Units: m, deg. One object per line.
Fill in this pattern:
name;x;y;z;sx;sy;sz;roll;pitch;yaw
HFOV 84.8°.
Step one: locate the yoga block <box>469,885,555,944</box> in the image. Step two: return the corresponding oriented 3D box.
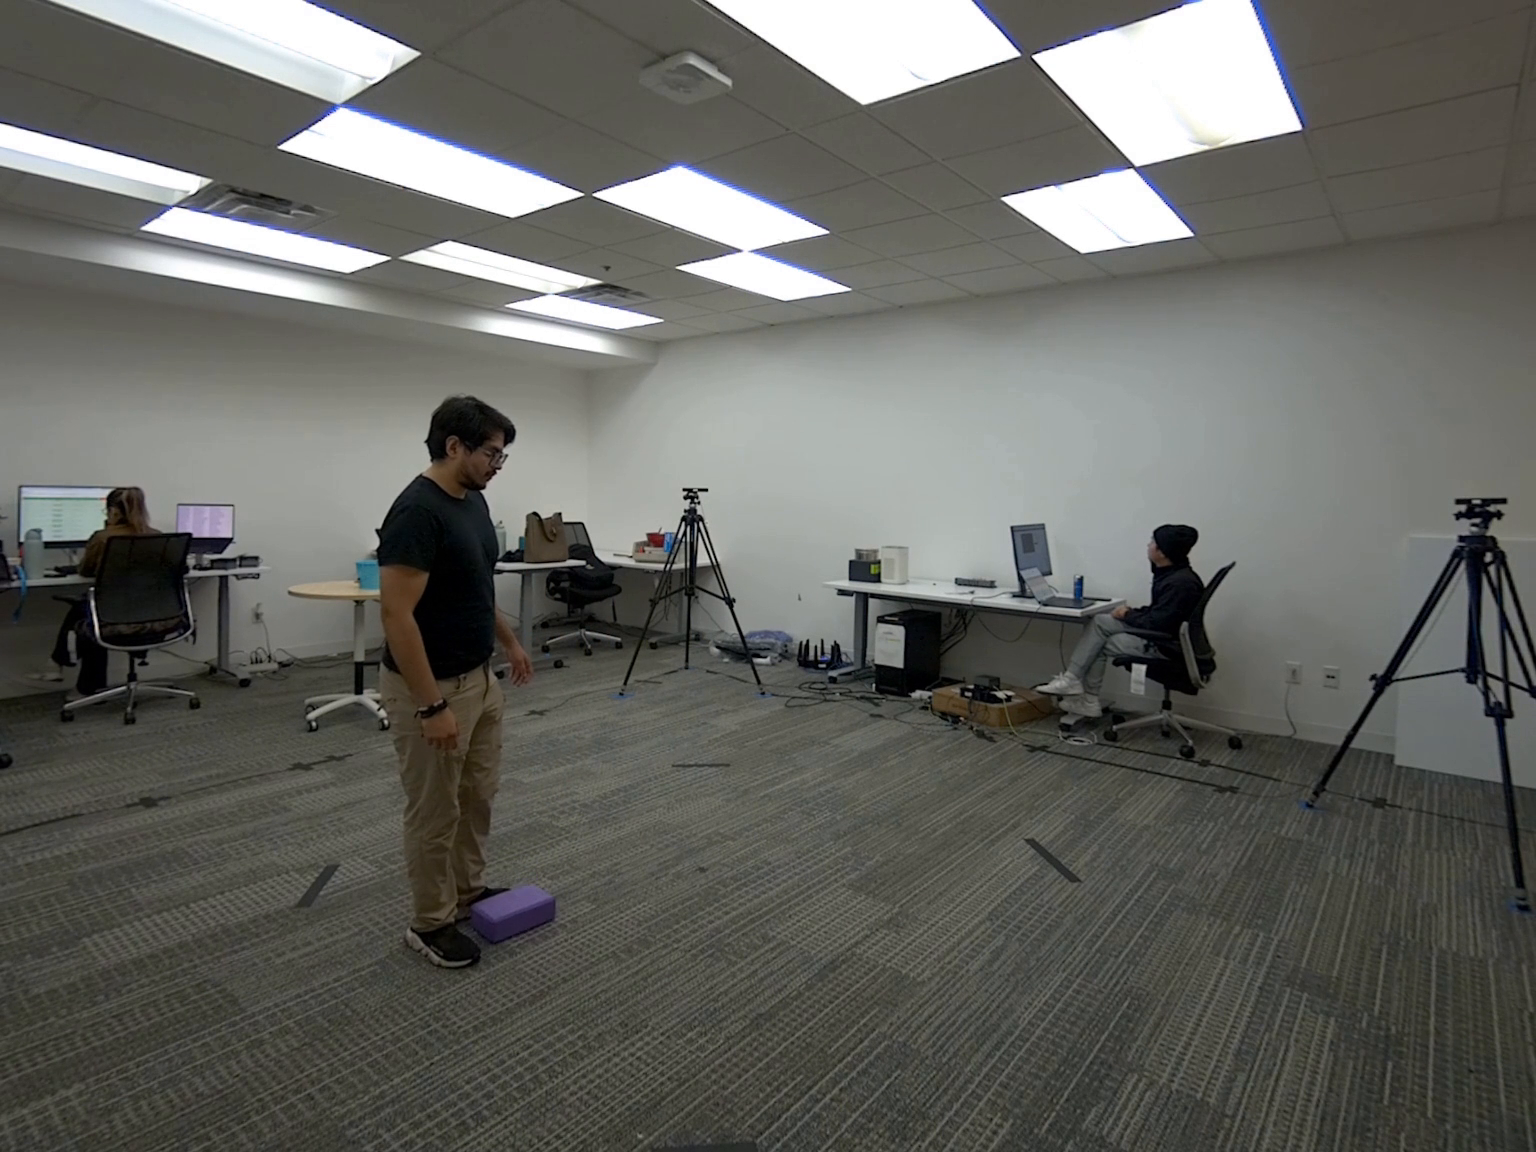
yoga block;-0.820;1.065;2.698;0.154;0.076;0.222;6;7;44
